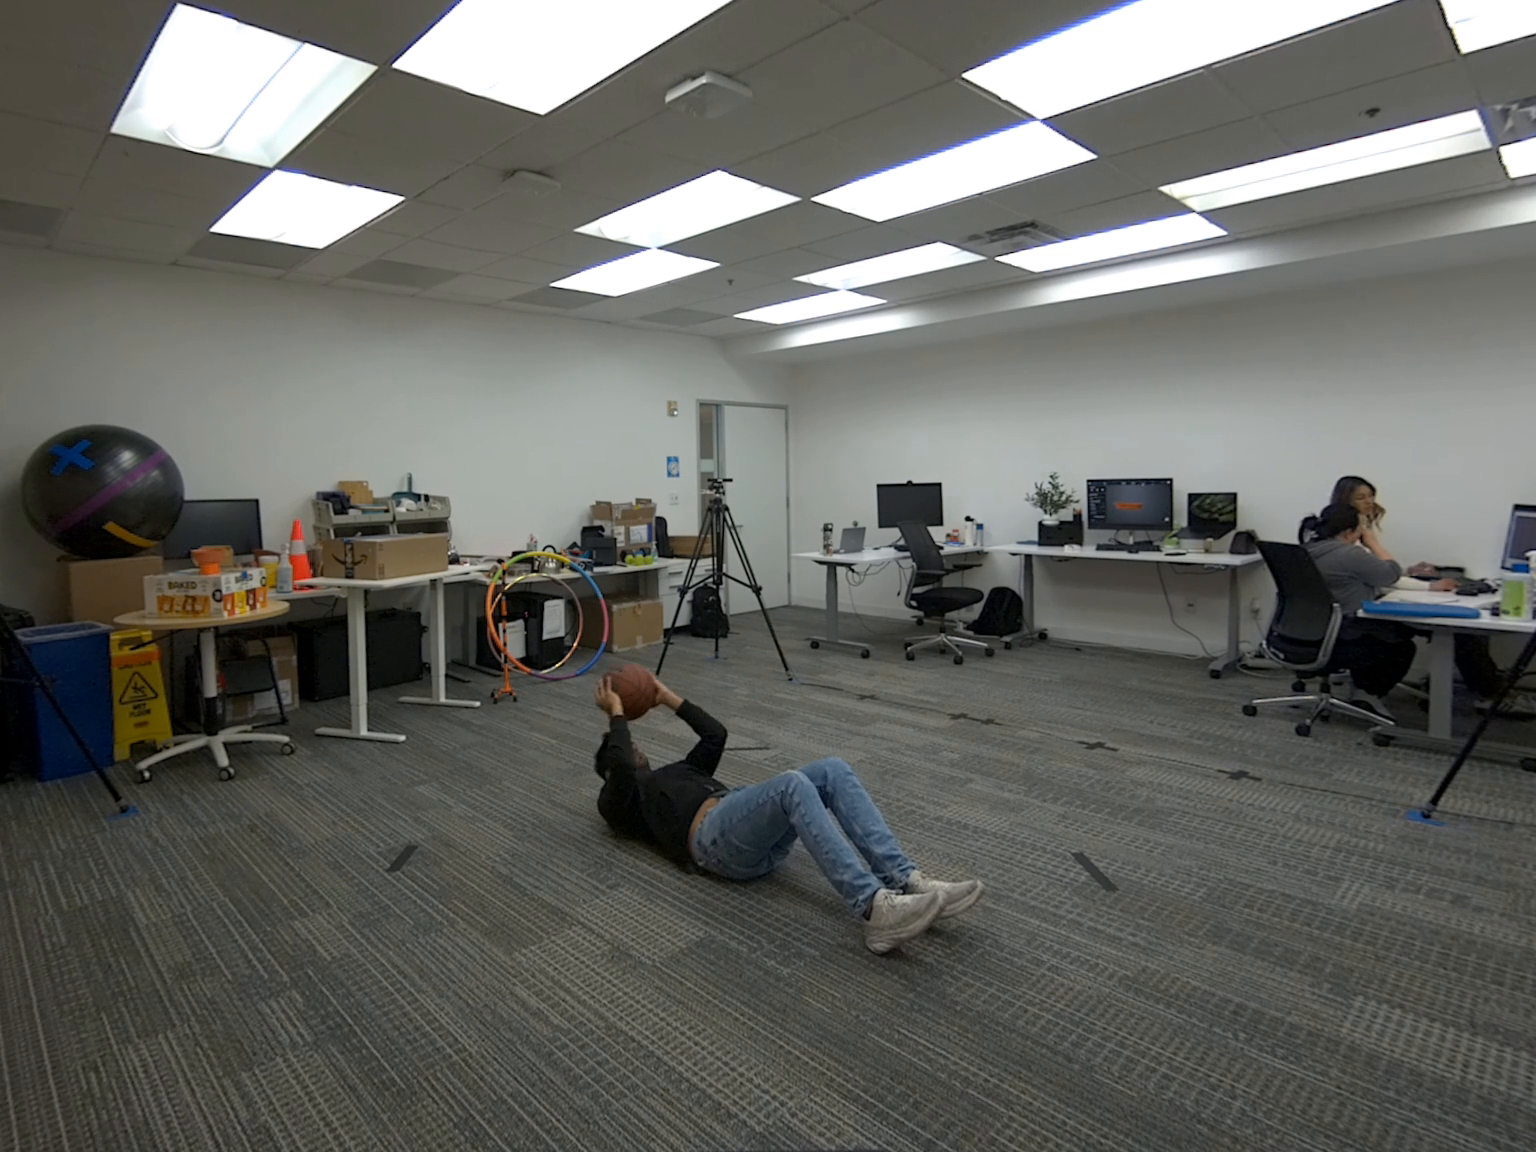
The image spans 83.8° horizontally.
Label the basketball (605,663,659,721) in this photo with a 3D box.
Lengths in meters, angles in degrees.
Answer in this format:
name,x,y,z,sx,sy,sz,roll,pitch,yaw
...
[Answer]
name,x,y,z,sx,sy,sz,roll,pitch,yaw
basketball,-0.587,0.501,3.552,0.236,0.235,0.237,-1,5,-2
